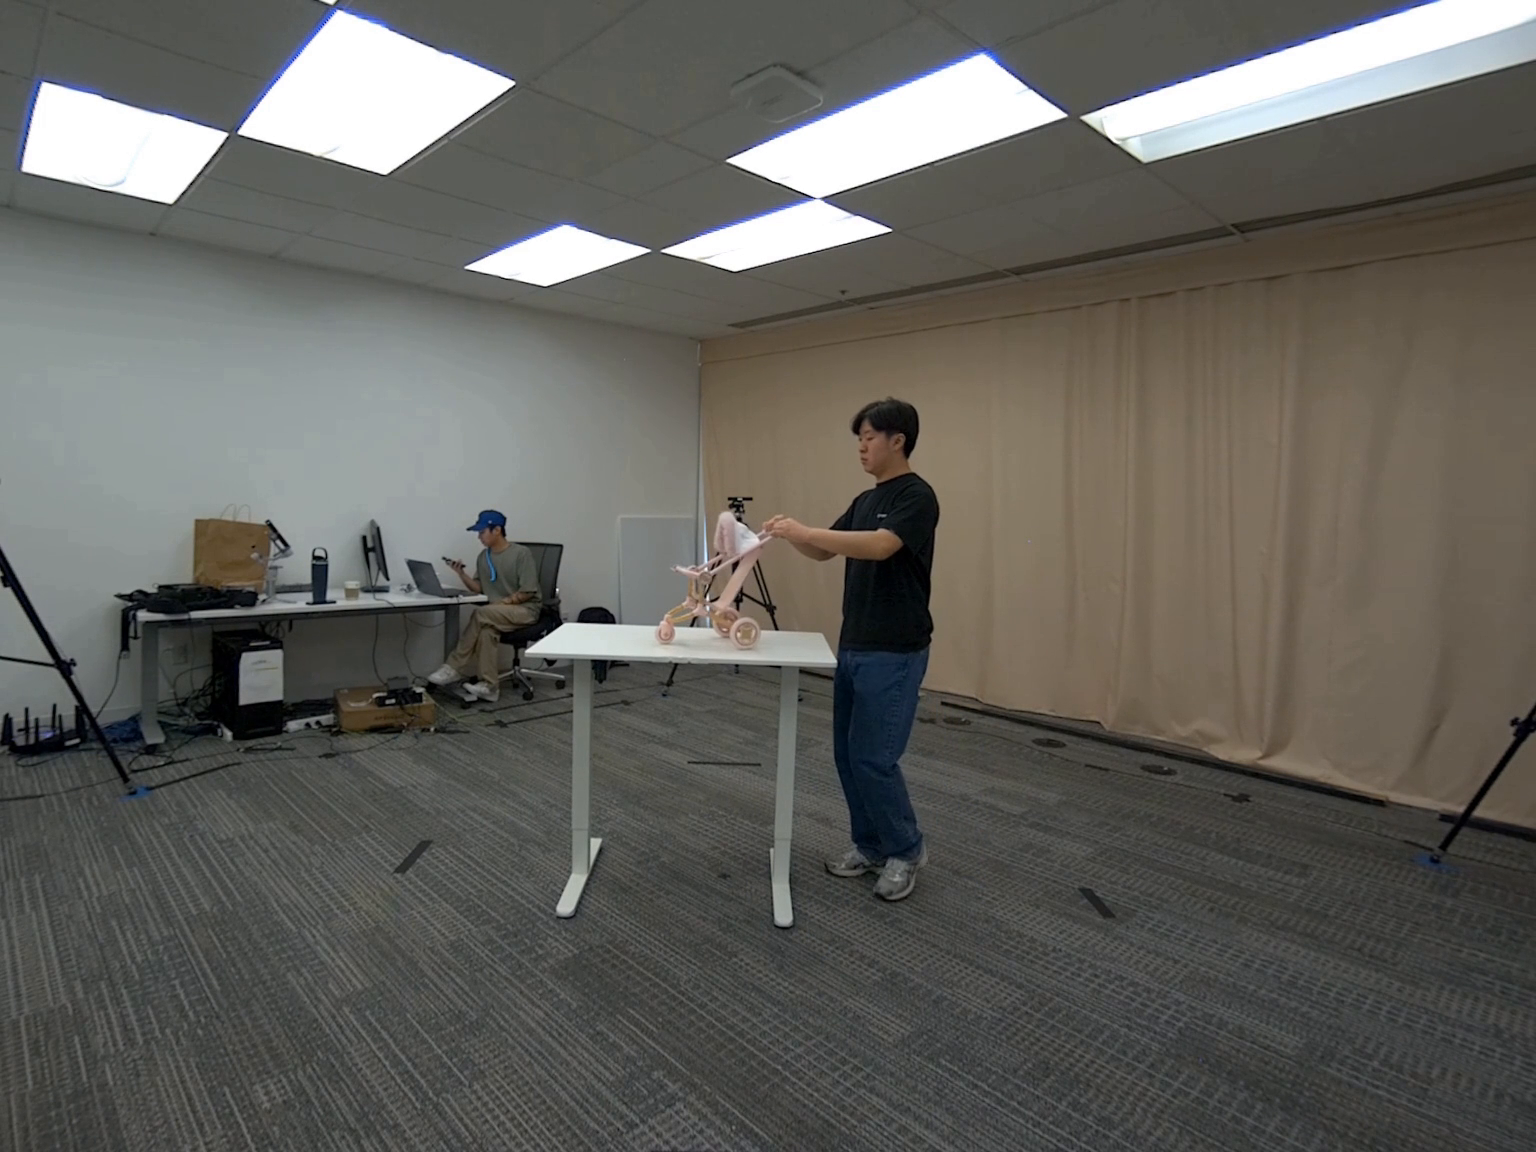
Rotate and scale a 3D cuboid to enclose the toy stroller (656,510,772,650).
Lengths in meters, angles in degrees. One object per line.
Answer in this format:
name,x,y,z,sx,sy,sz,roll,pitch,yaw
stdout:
toy stroller,-0.172,0.015,2.945,0.338,0.535,0.284,16,0,-11
